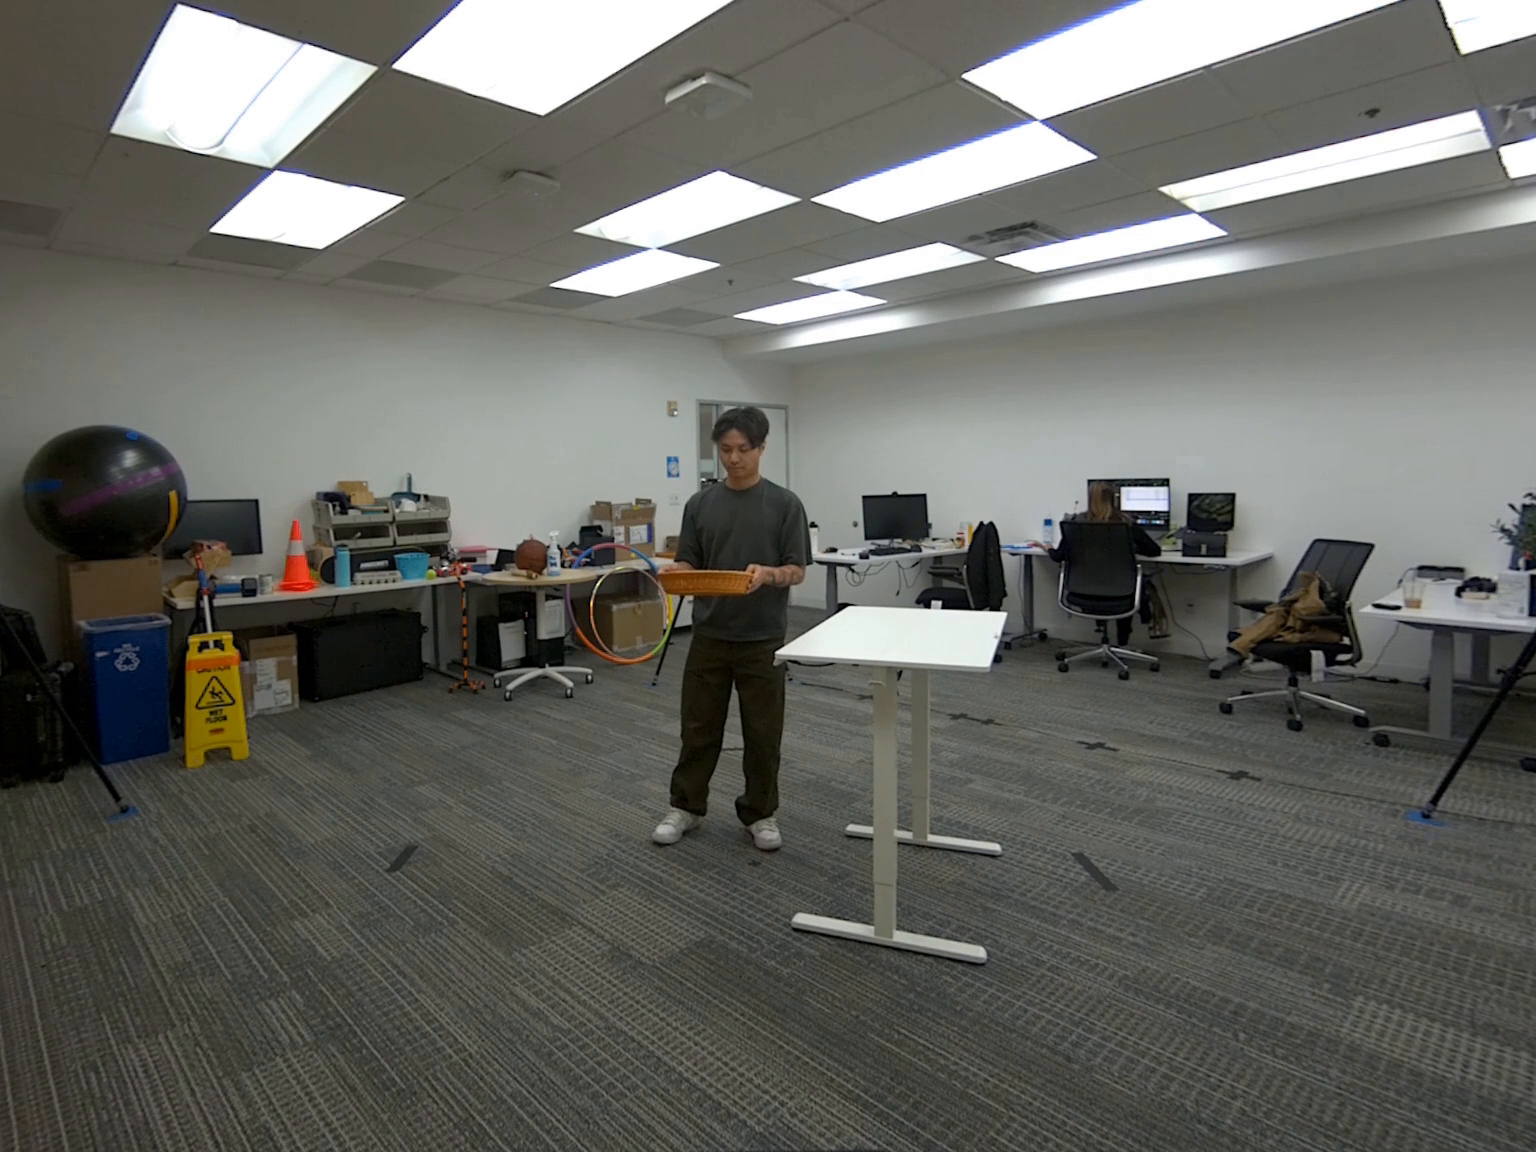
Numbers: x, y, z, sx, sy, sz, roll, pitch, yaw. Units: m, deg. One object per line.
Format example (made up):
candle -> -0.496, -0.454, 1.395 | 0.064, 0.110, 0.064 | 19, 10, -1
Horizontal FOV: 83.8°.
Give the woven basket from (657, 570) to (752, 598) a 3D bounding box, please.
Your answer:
woven basket -> -0.219, 0.031, 2.963 | 0.358, 0.073, 0.247 | 0, -1, 22
